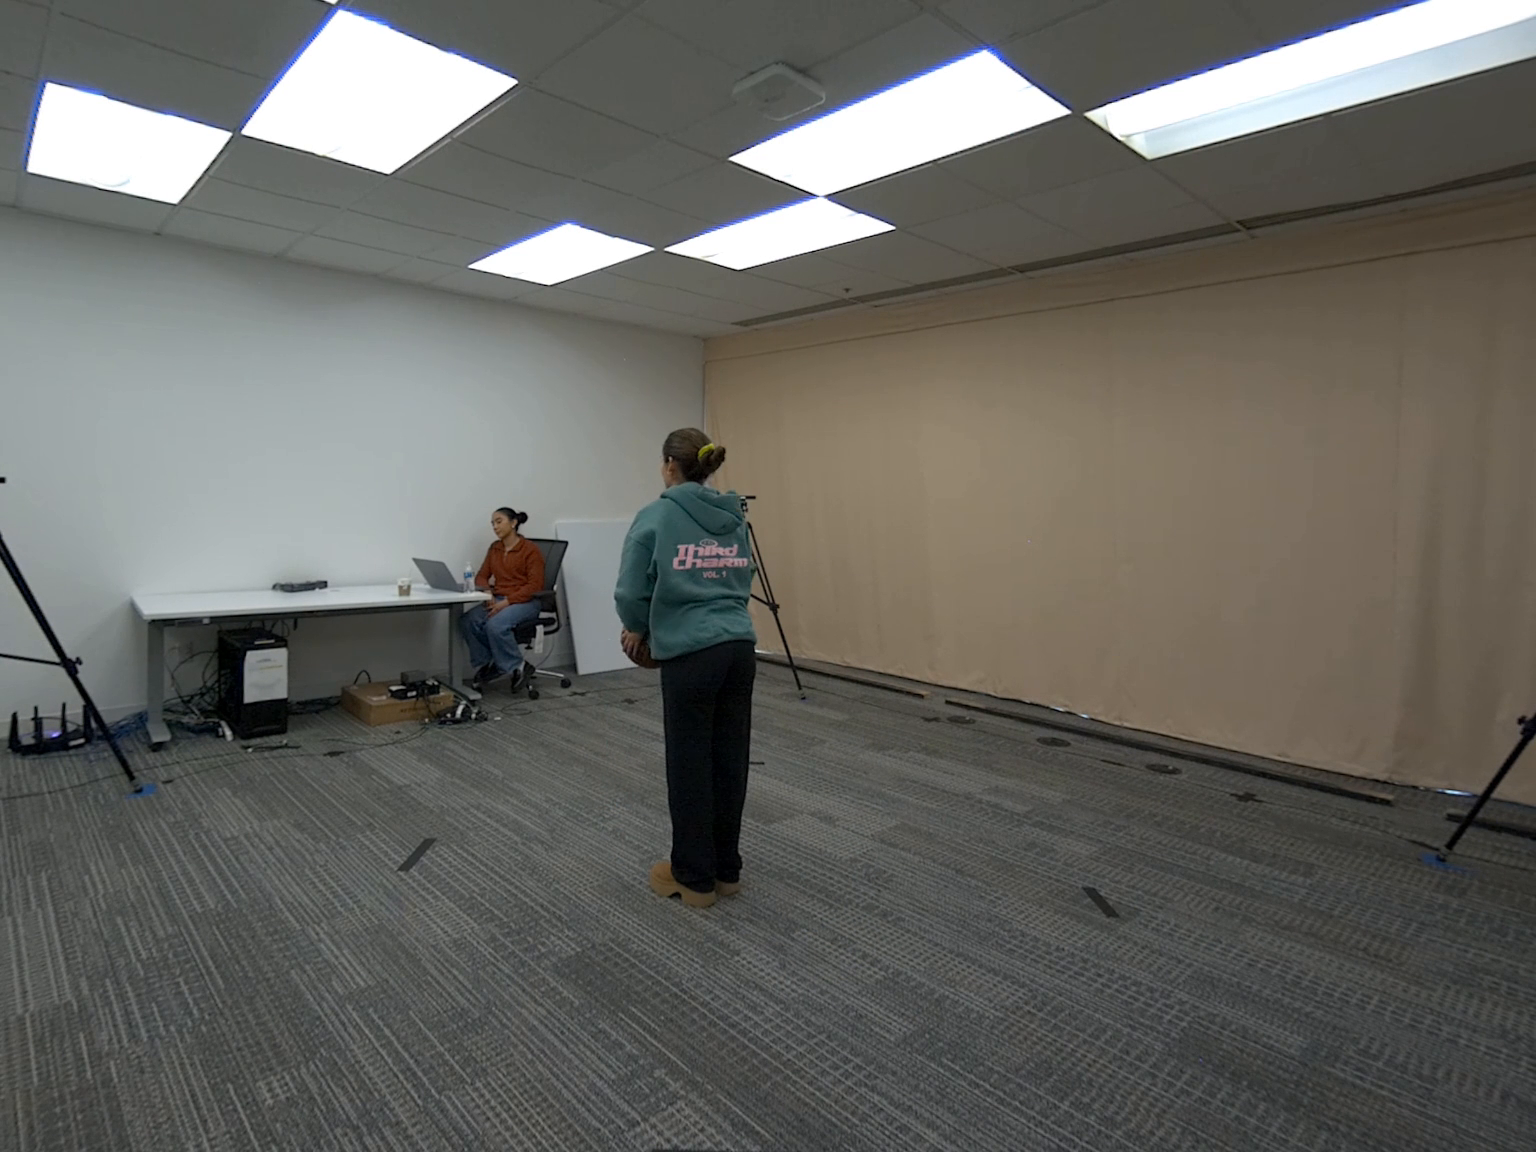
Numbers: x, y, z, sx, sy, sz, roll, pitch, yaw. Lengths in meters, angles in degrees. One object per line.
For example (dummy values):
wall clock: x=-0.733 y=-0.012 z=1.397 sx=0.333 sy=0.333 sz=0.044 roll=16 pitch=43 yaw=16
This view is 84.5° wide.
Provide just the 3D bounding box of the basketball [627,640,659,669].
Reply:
basketball: x=-0.430 y=0.232 z=3.141 sx=0.236 sy=0.235 sz=0.237 roll=1 pitch=4 yaw=-1
